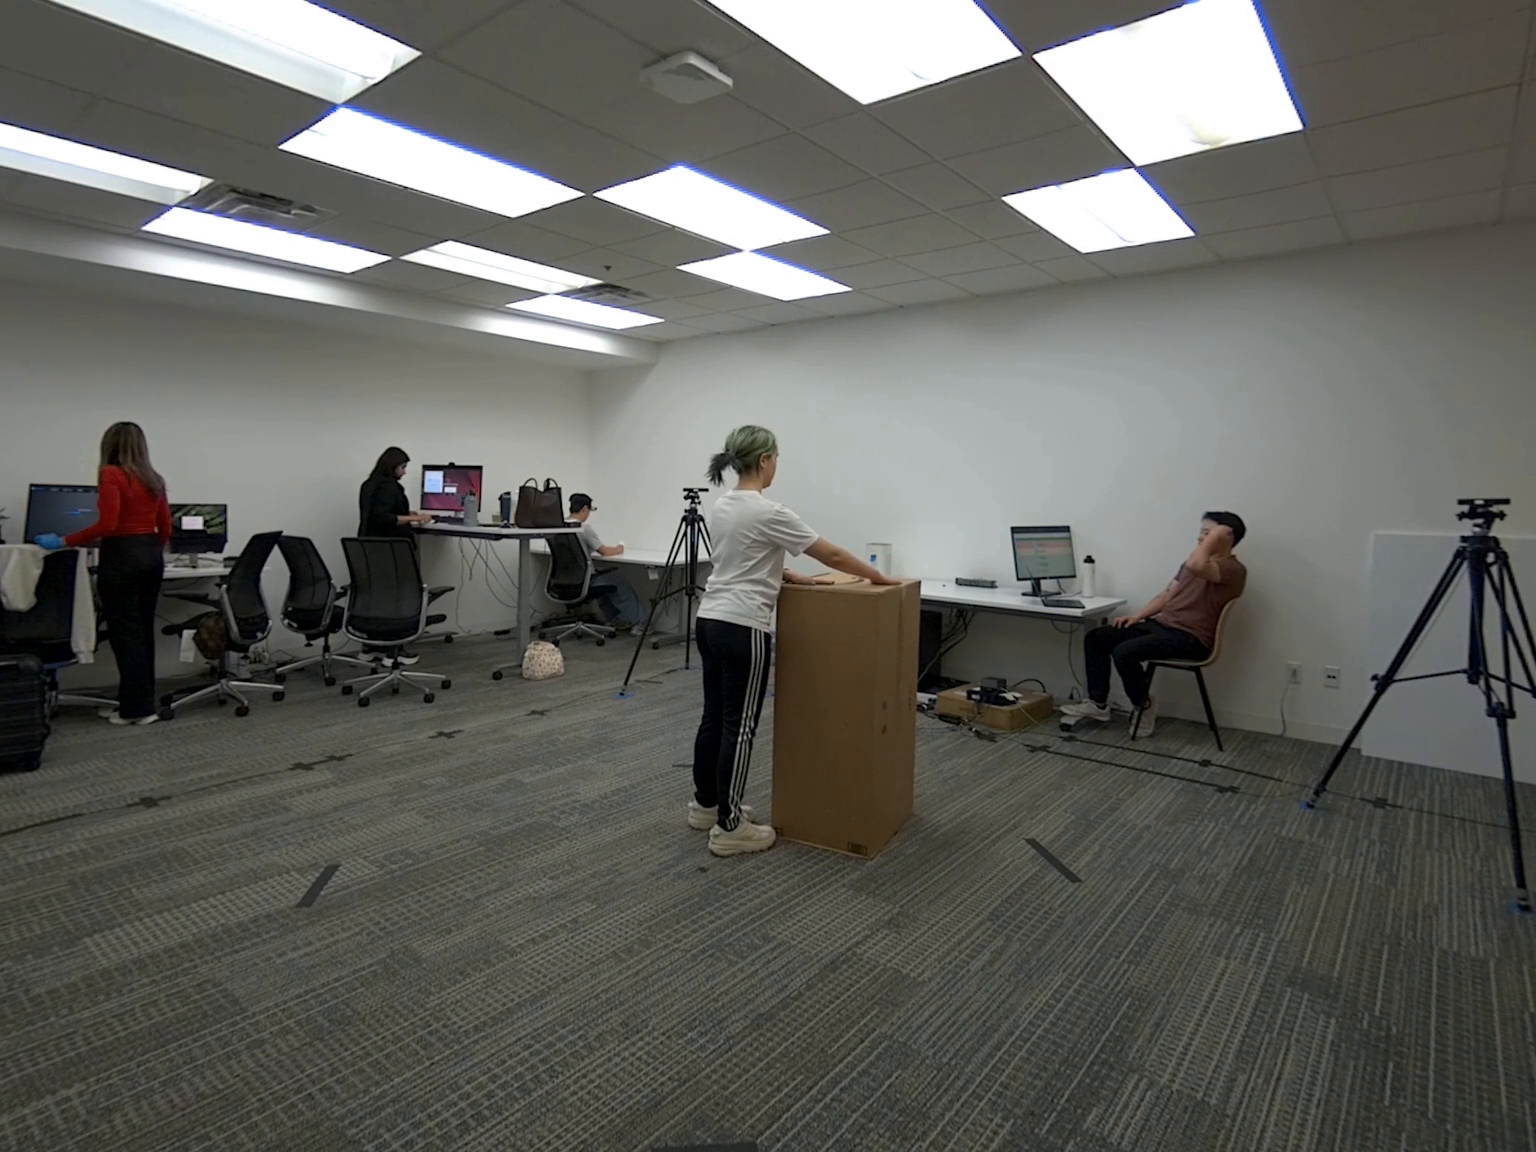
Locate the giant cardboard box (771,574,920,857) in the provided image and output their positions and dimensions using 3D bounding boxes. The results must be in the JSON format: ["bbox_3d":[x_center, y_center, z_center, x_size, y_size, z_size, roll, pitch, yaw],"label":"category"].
[{"bbox_3d":[0.328,0.536,3.541,0.459,1.023,0.570,4,4,26],"label":"giant cardboard box"}]
